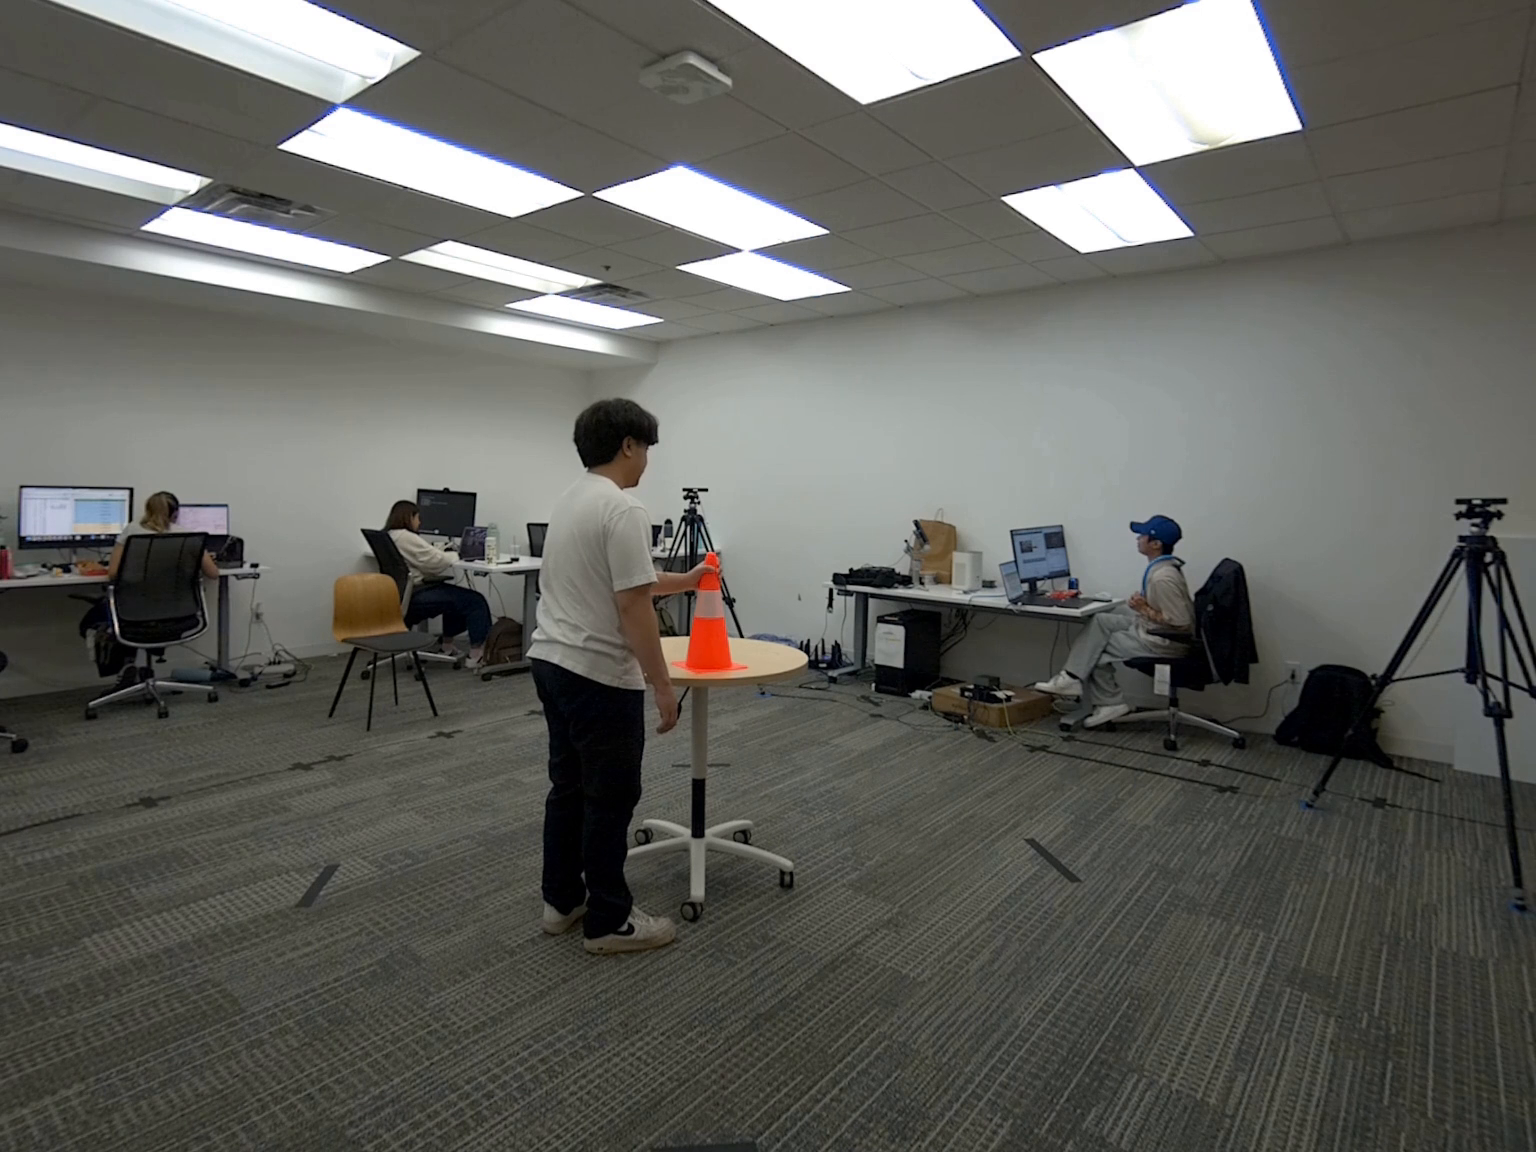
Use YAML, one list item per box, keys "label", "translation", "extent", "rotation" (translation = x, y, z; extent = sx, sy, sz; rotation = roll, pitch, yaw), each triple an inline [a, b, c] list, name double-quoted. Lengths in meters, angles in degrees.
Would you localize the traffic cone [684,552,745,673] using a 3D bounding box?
- label: "traffic cone"
  translation: [-0.207, 0.110, 2.842]
  extent: [0.197, 0.382, 0.212]
  rotation: [-3, 5, -44]
